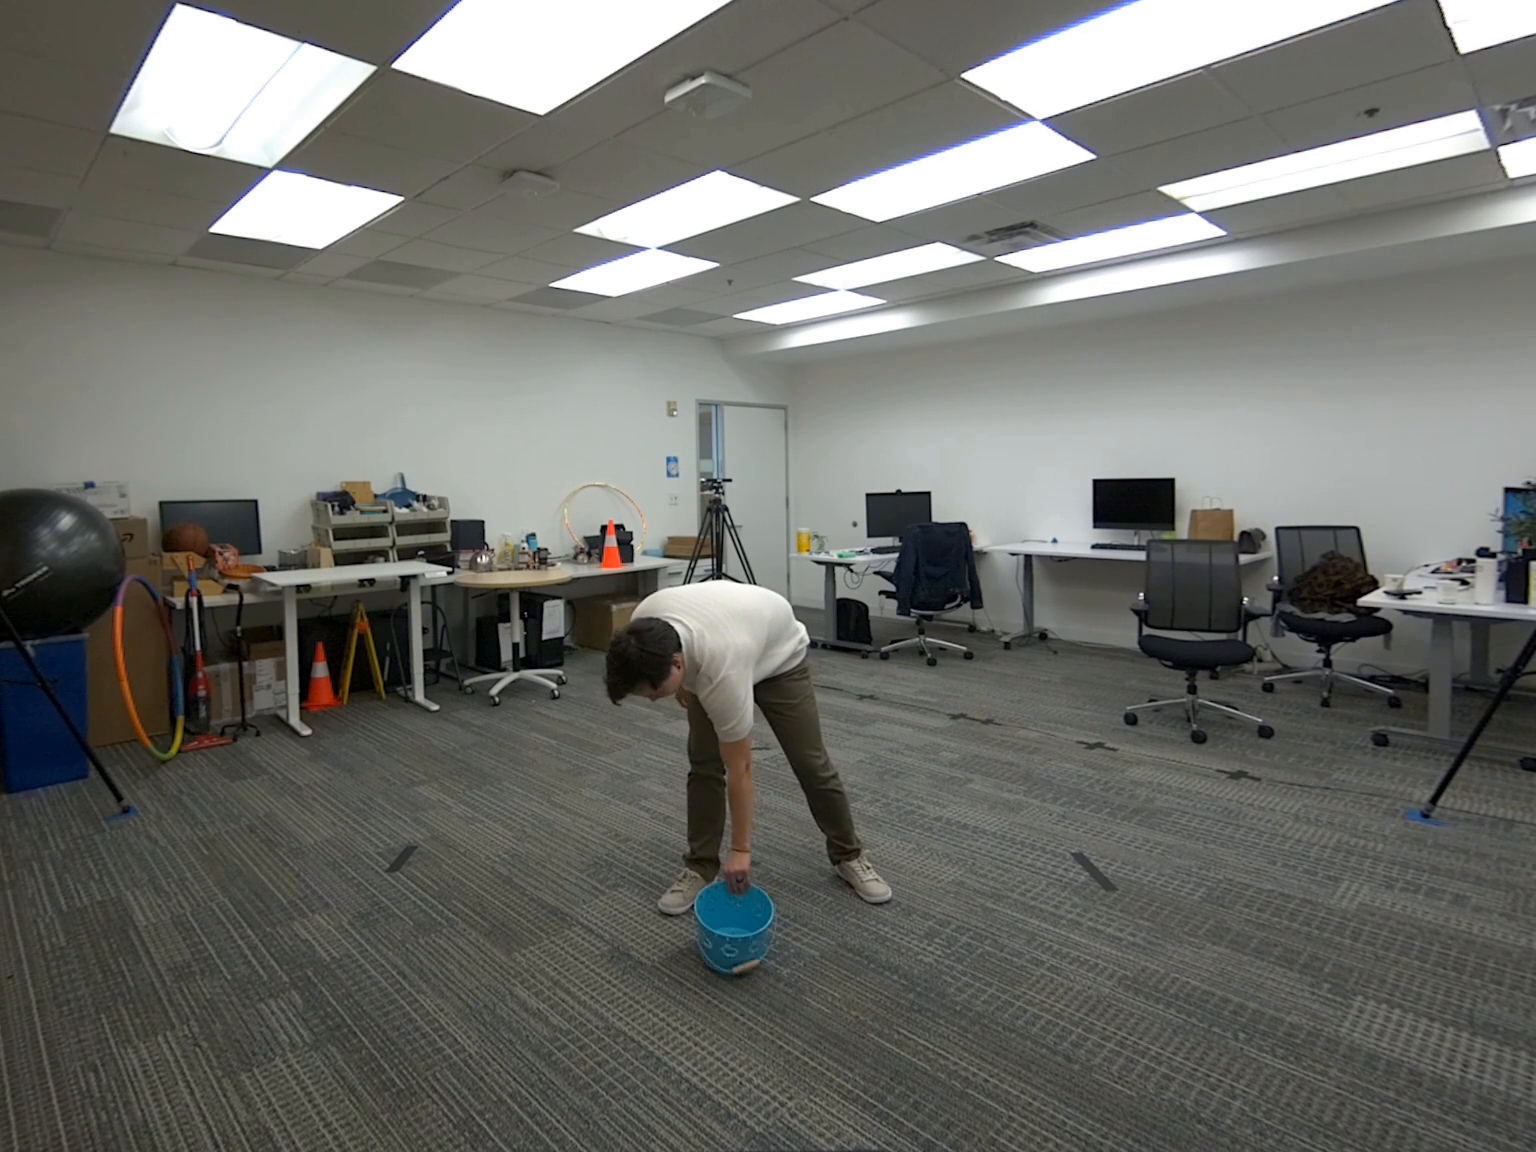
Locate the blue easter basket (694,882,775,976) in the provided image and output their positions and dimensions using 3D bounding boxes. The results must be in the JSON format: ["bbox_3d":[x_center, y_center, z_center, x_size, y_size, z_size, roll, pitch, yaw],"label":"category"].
[{"bbox_3d":[-0.071,1.029,2.466,0.243,0.154,0.247,4,17,-3],"label":"blue easter basket"}]
